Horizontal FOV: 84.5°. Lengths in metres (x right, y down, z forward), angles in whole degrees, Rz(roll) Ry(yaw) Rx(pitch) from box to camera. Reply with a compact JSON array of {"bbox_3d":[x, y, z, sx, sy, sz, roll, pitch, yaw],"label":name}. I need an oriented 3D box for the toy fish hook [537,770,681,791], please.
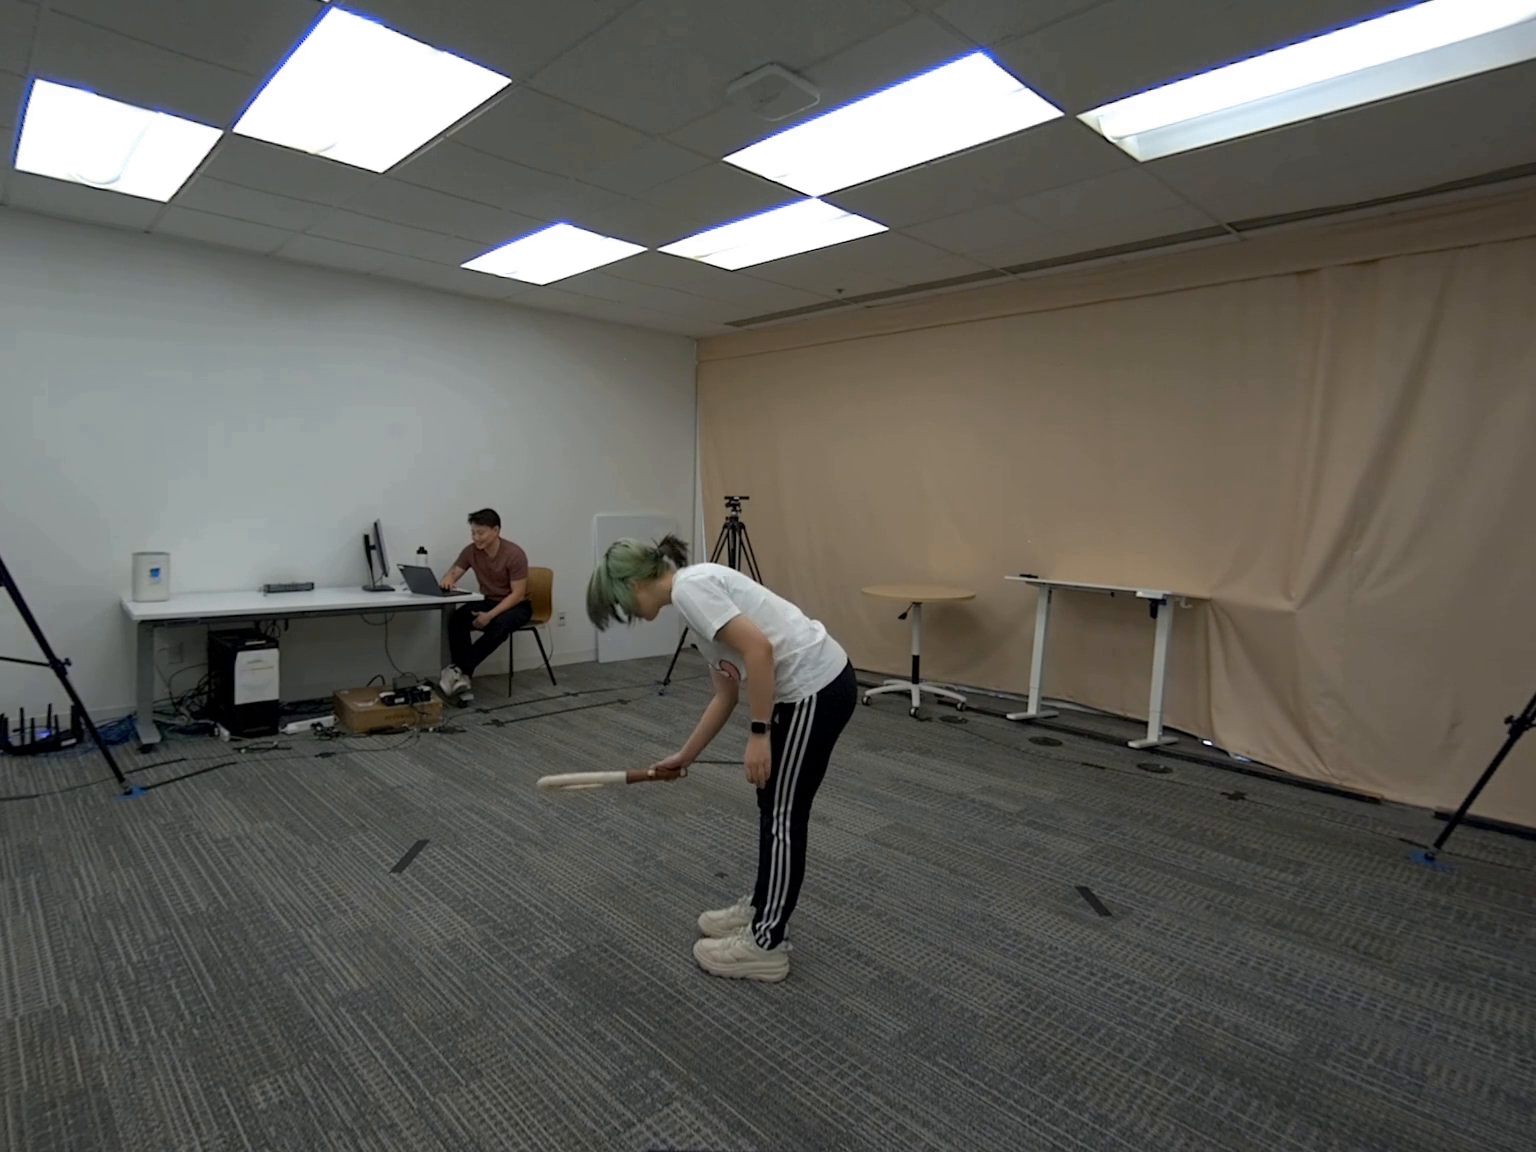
[{"bbox_3d":[-0.507,0.682,2.805,0.507,0.049,0.221,-4,-18,2],"label":"toy fish hook"}]
